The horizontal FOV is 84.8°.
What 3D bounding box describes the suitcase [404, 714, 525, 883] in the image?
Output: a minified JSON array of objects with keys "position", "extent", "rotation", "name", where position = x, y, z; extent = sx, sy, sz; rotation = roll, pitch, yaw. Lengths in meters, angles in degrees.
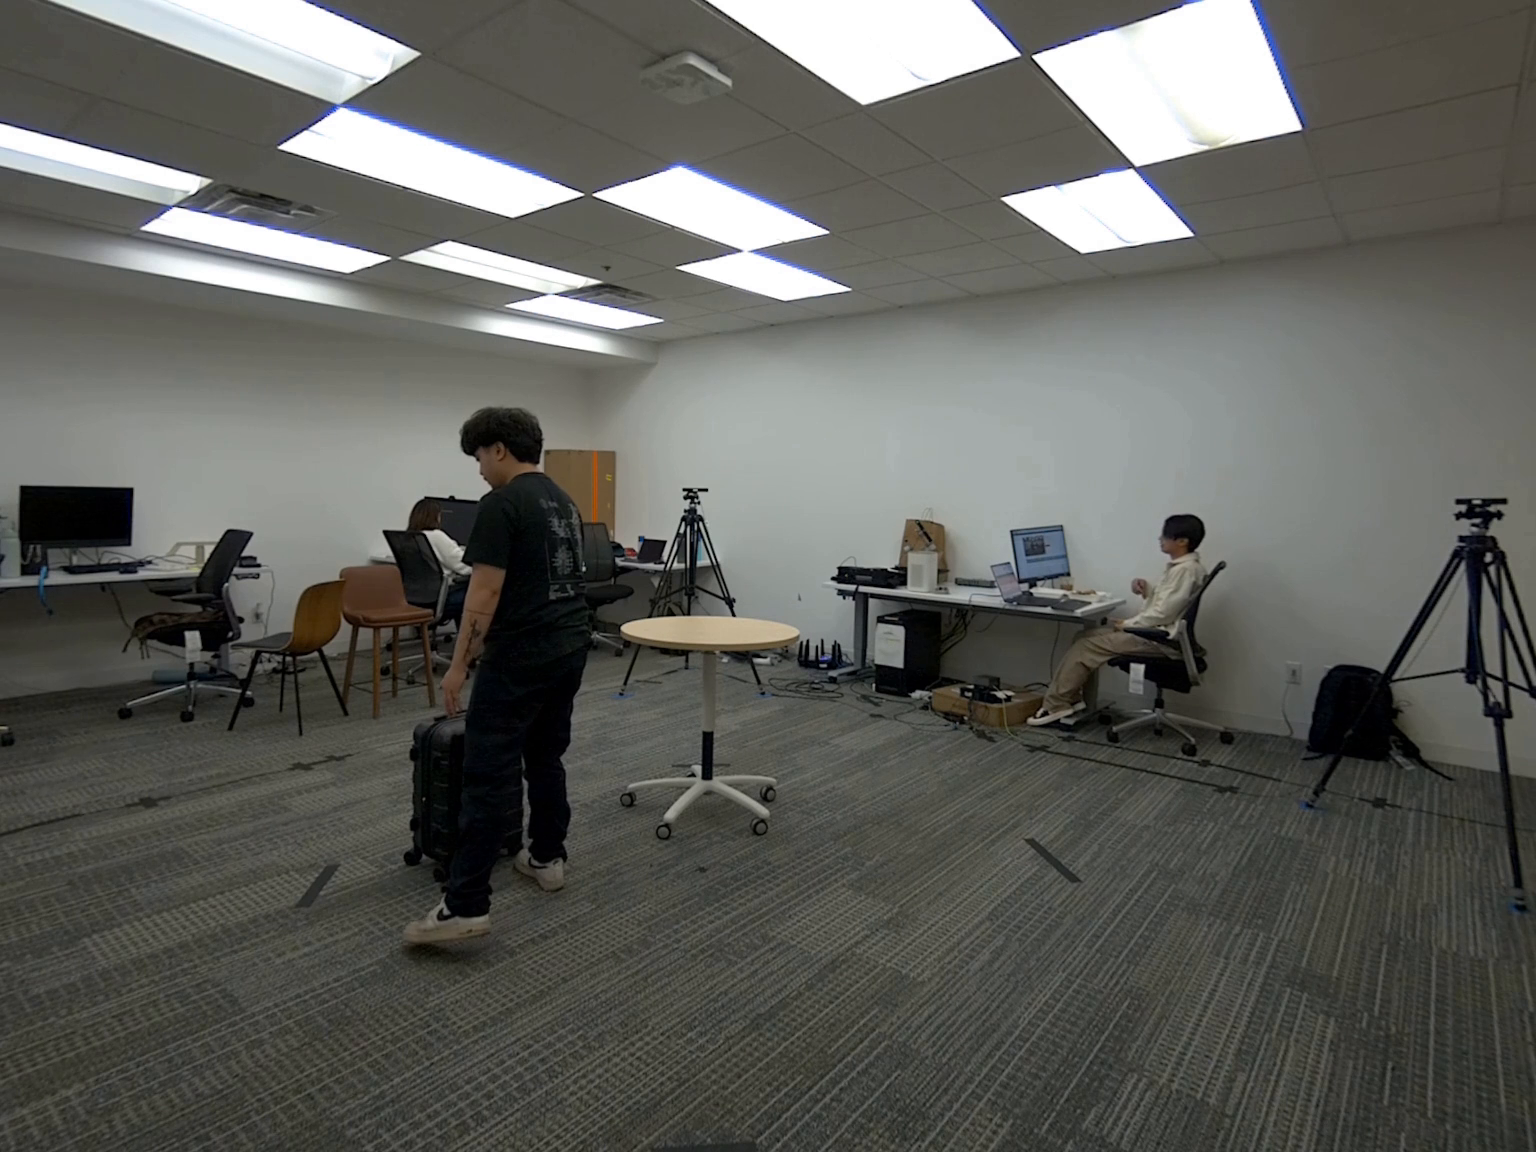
[{"position":[-1.126,0.779,3.142],"extent":[0.257,0.547,0.364],"rotation":[4,5,39],"name":"suitcase"}]
